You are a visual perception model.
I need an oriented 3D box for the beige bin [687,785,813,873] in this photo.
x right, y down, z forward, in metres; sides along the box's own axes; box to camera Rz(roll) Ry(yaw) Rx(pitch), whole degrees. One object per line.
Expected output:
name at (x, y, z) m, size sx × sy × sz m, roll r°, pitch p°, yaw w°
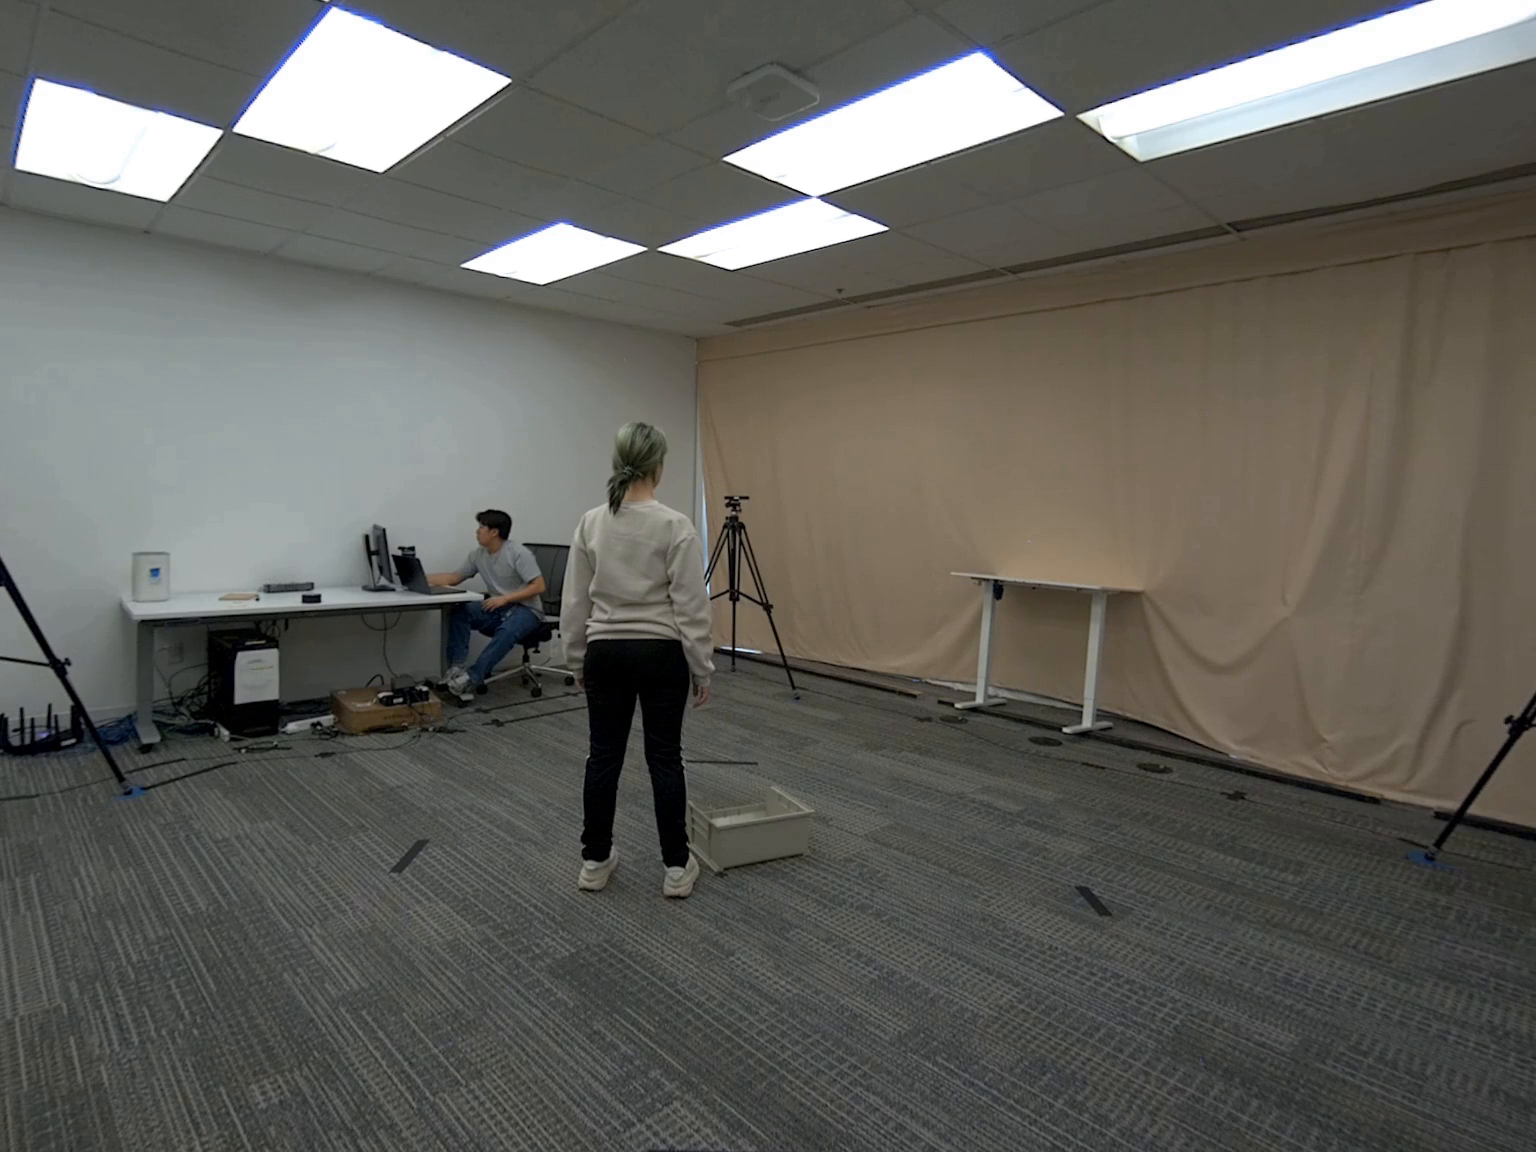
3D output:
beige bin at (-0.102, 0.994, 3.365) m, size 0.414 × 0.188 × 0.386 m, roll -1°, pitch 6°, yaw -28°
